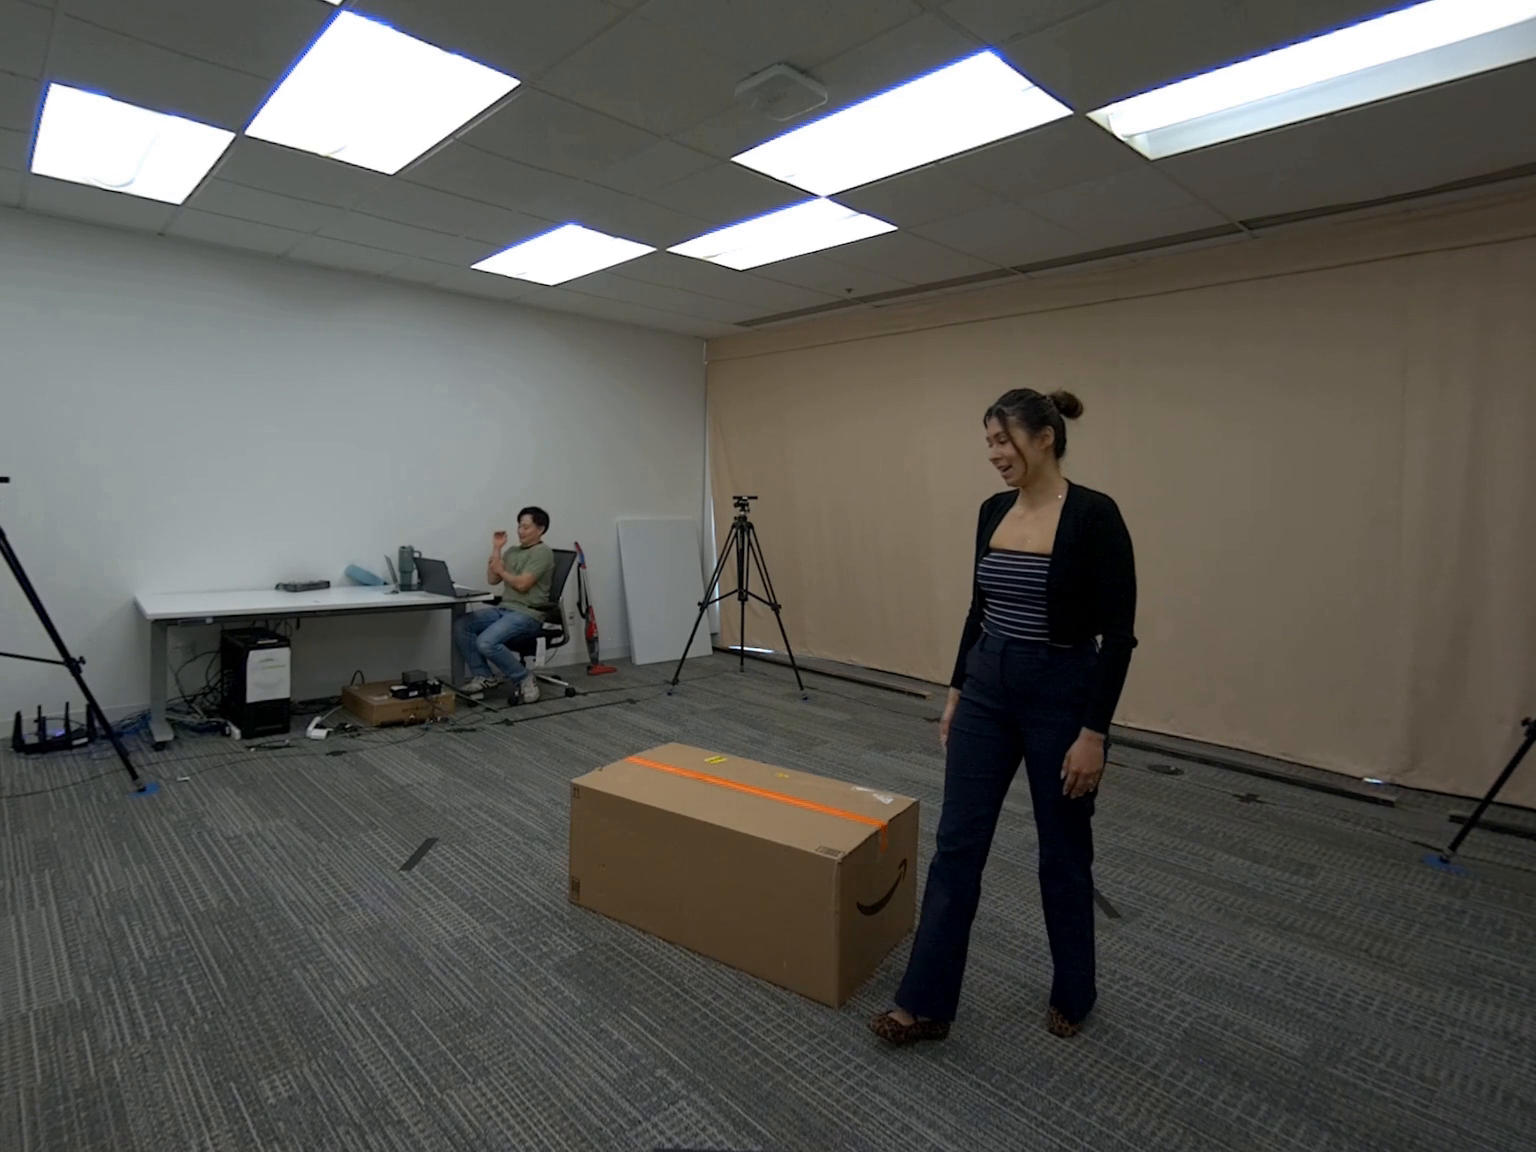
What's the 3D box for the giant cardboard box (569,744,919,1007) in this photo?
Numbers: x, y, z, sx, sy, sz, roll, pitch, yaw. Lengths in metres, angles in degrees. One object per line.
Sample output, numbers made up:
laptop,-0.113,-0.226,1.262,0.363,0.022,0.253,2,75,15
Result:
giant cardboard box,-0.099,0.919,2.804,1.050,0.425,0.566,5,7,33
